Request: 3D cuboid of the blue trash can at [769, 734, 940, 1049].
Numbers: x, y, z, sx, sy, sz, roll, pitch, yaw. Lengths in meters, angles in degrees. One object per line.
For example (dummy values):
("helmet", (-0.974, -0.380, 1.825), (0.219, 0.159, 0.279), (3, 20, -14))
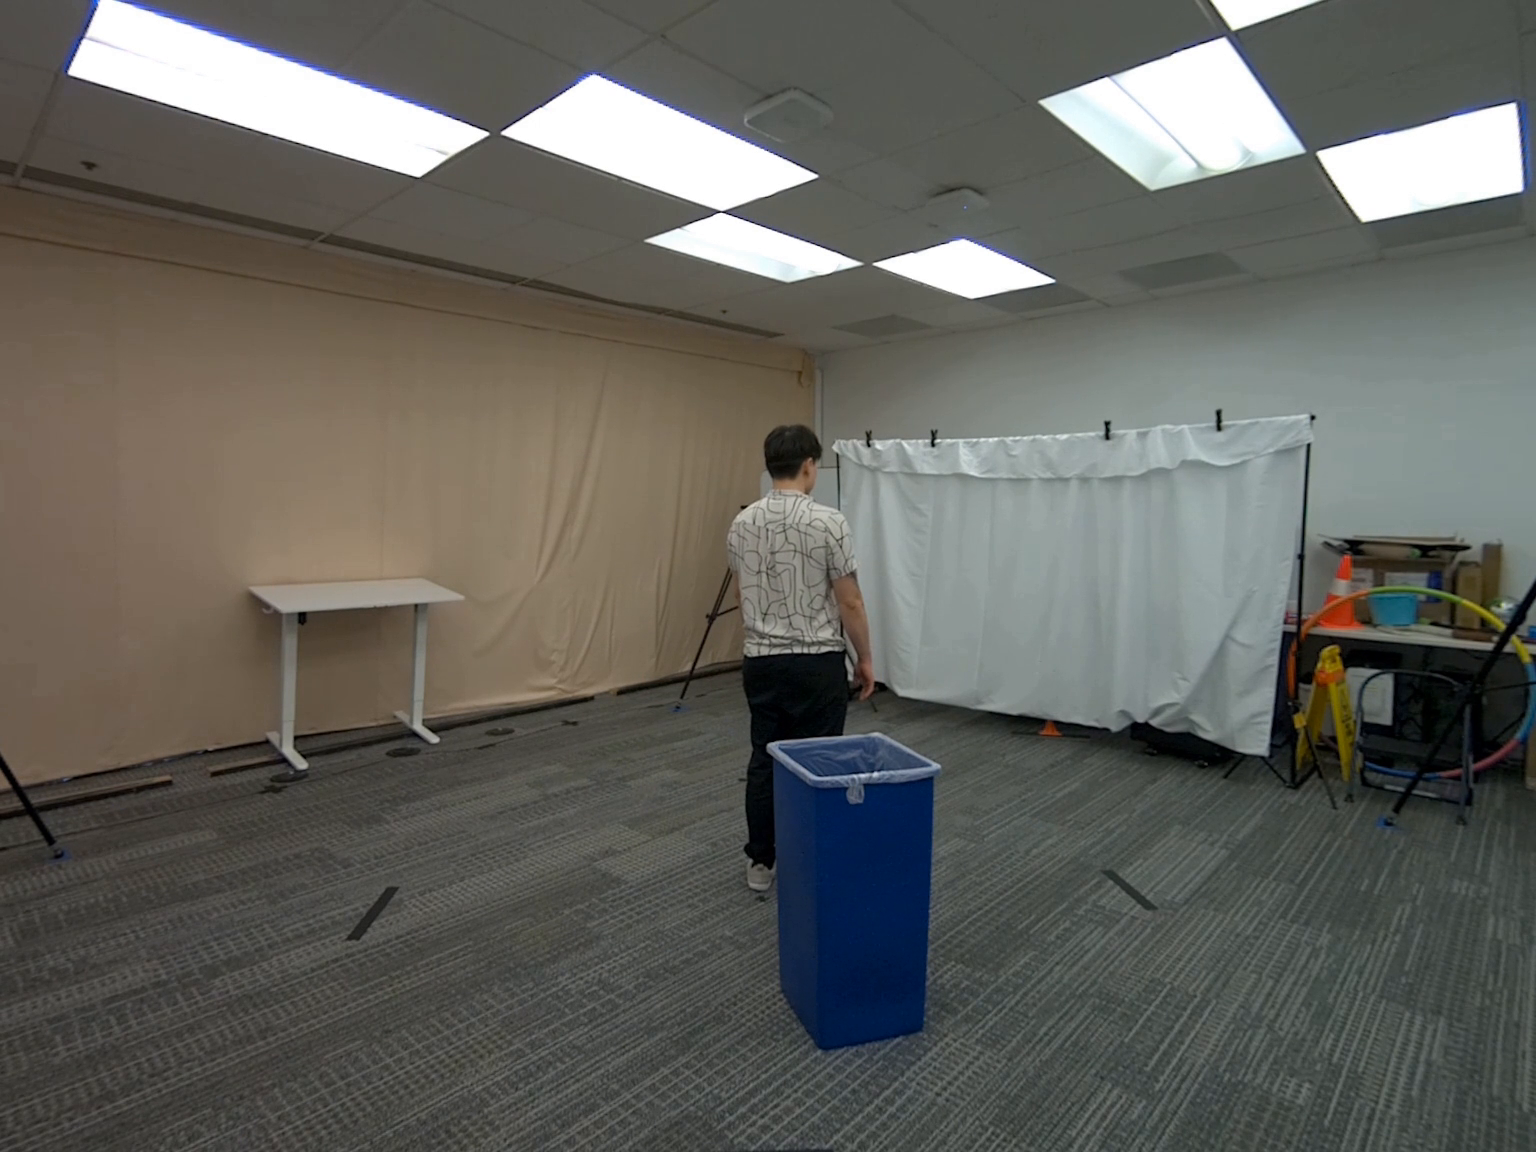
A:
("blue trash can", (0.221, 0.840, 2.322), (0.371, 0.712, 0.382), (-1, 3, -19))
